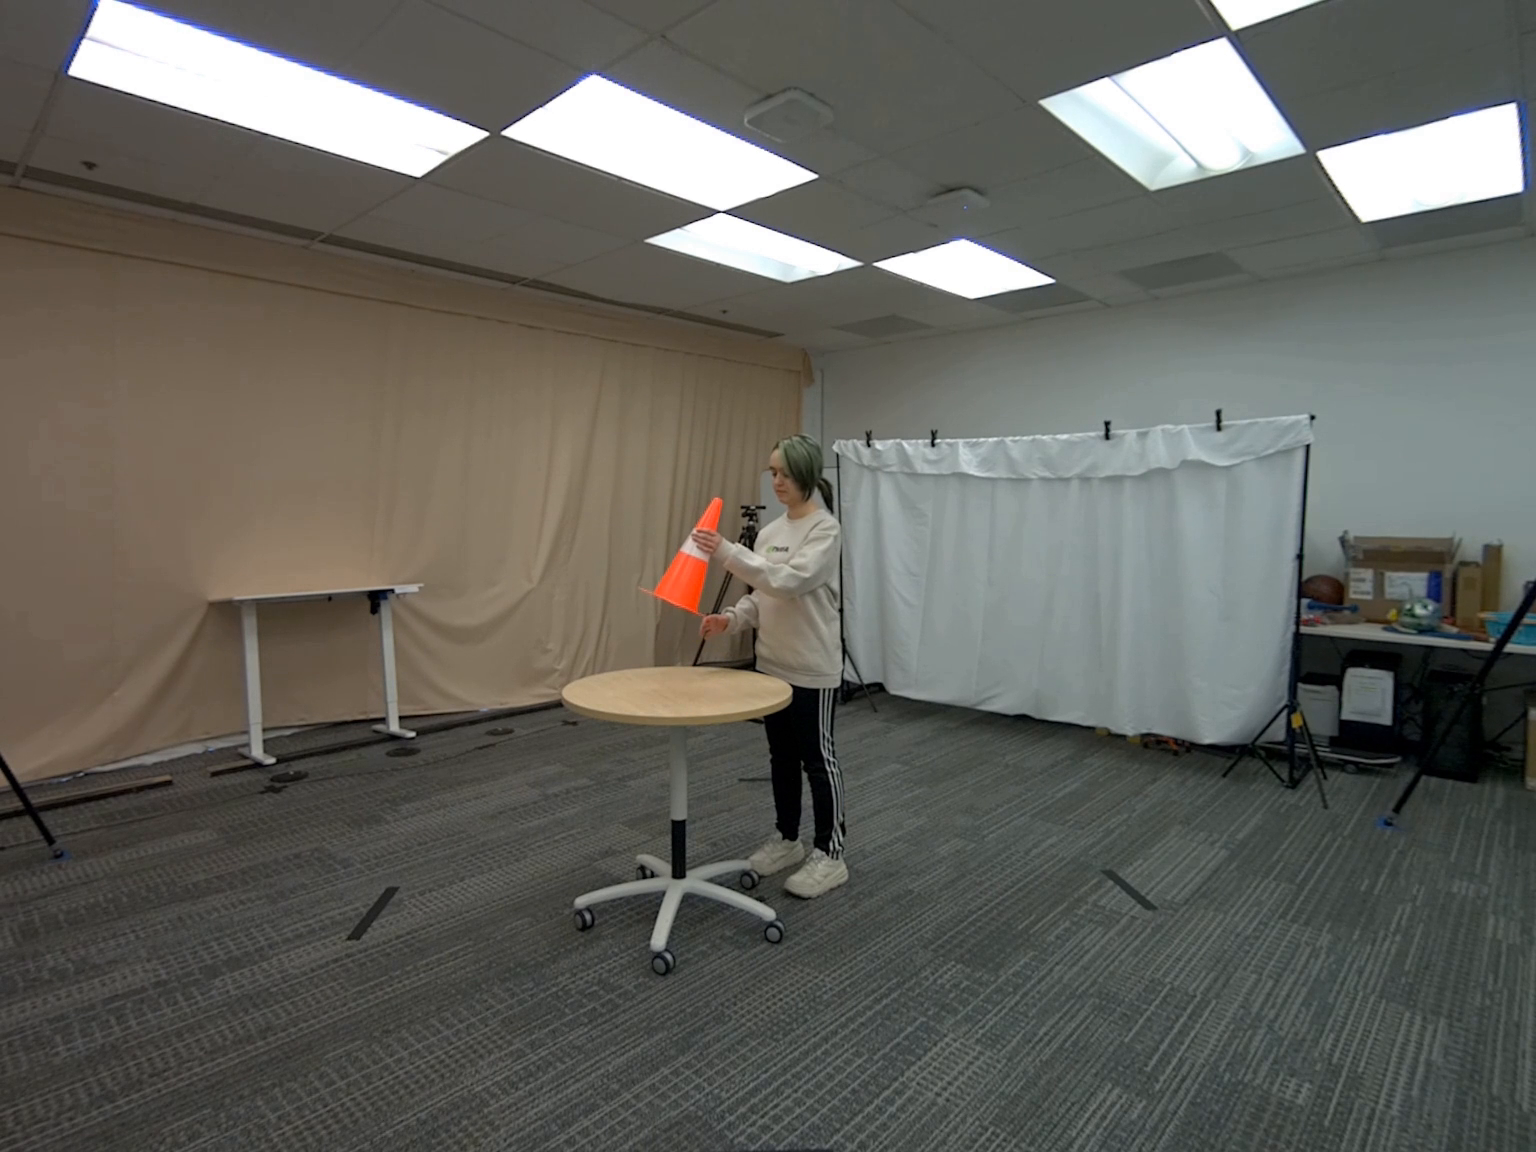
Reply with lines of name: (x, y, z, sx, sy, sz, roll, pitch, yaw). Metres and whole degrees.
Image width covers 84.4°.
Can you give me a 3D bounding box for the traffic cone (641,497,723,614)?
traffic cone: (-0.237, -0.084, 2.815, 0.212, 0.384, 0.196, 18, -8, 39)
